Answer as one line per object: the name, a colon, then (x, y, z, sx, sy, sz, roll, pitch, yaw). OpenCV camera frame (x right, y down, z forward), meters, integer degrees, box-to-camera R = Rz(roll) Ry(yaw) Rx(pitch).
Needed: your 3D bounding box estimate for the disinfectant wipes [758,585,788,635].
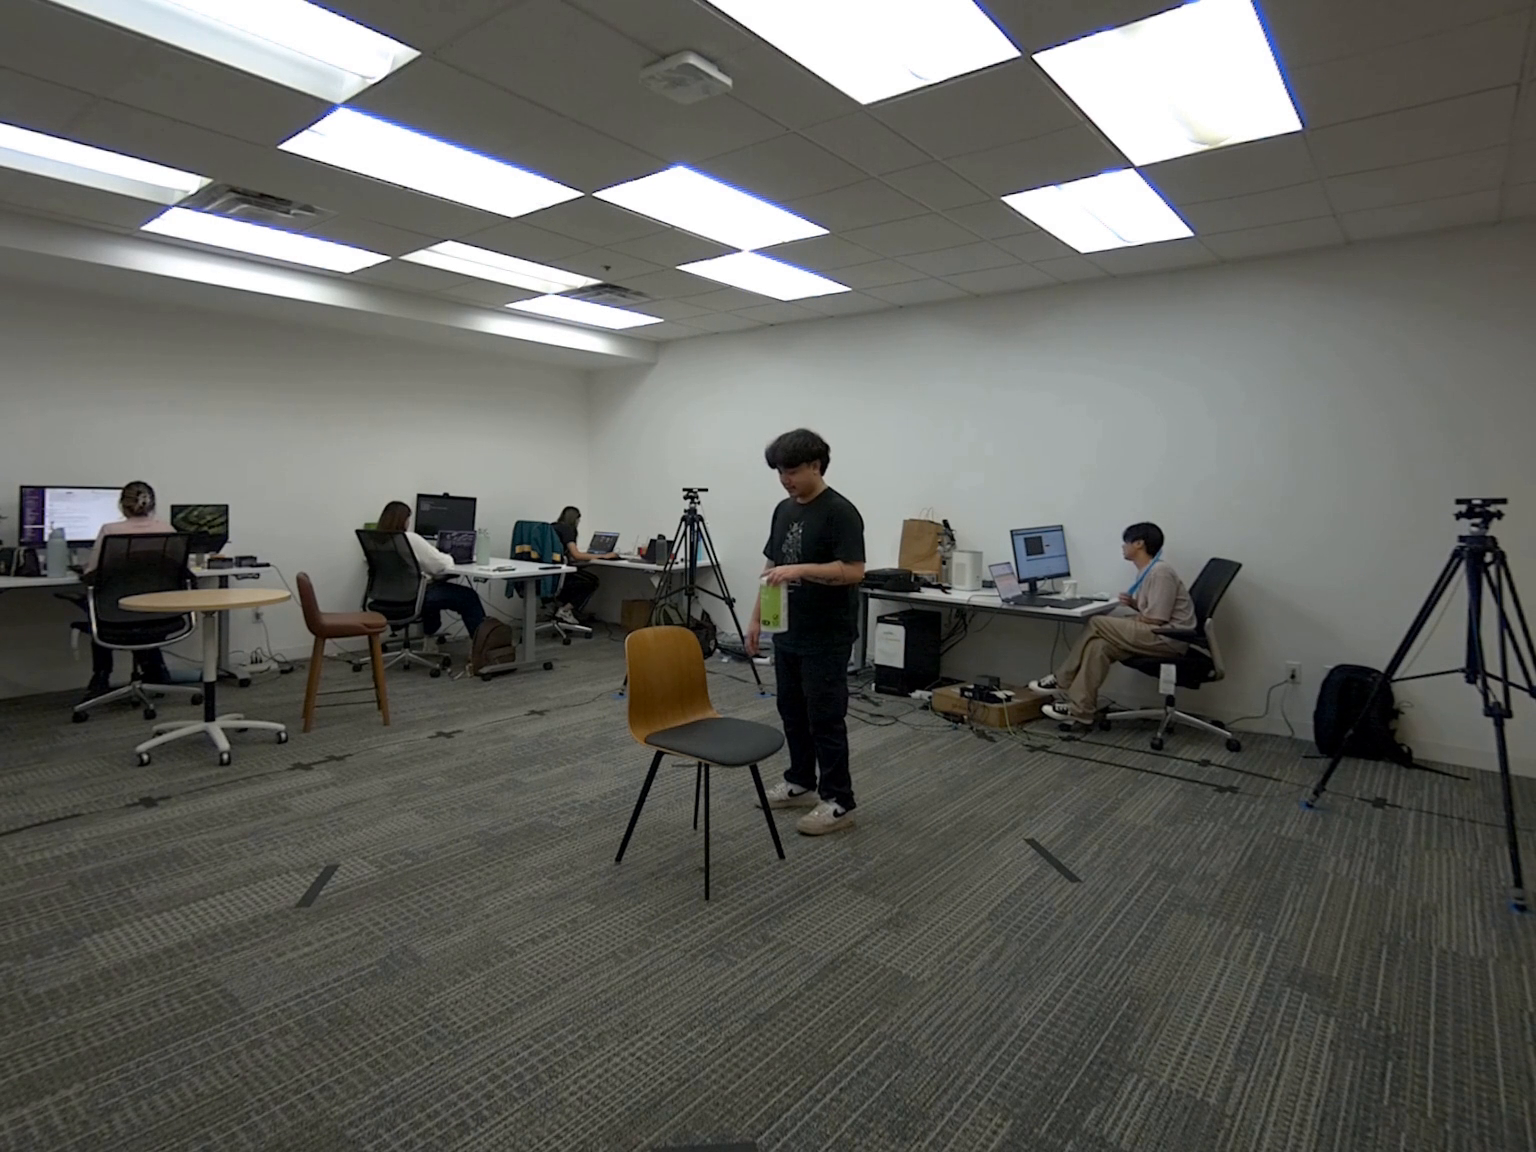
disinfectant wipes: (0.017, 0.112, 3.383, 0.118, 0.217, 0.118, 0, 2, -2)
